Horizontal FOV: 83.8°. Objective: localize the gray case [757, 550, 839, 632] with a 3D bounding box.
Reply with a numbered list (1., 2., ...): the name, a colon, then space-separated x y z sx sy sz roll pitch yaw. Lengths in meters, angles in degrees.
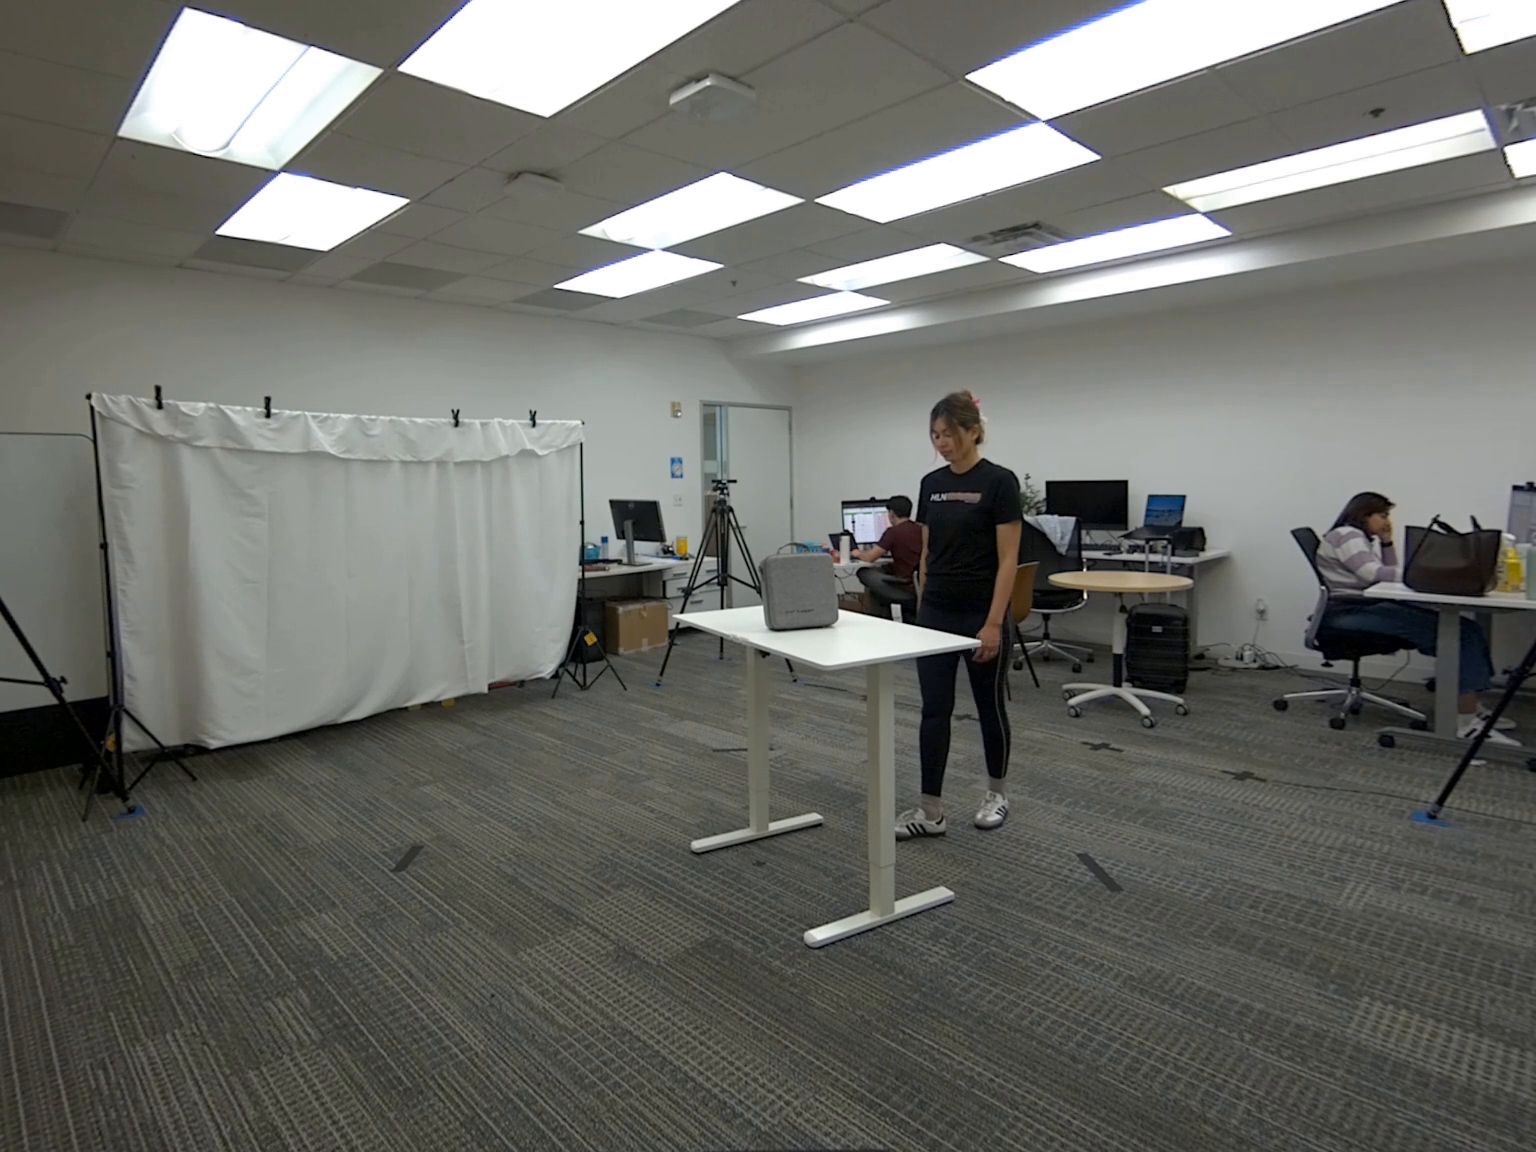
1. gray case: 0.109 0.048 2.959 0.253 0.262 0.105 -2 -5 -16
